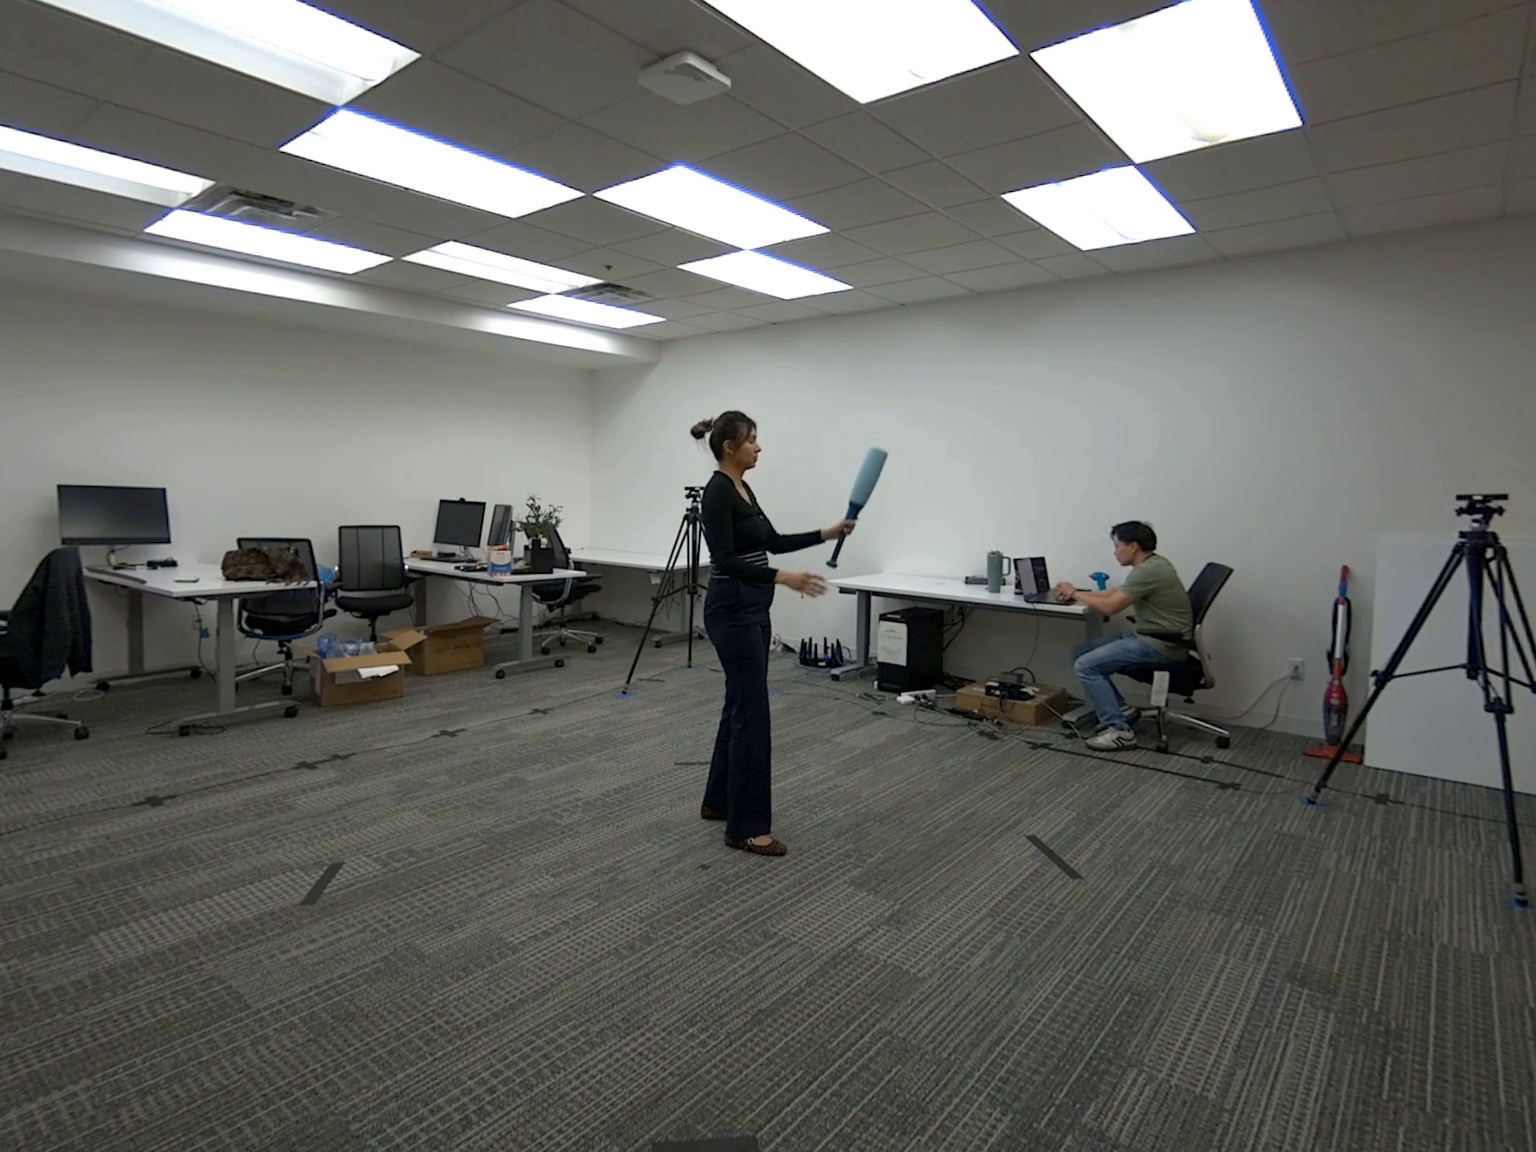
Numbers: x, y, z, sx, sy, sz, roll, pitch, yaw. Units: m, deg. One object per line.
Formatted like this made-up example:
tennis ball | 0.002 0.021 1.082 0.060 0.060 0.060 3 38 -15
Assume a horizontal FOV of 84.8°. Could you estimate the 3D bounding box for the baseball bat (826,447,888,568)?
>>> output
baseball bat | 0.330 -0.277 3.591 0.088 0.541 0.090 22 7 -5
